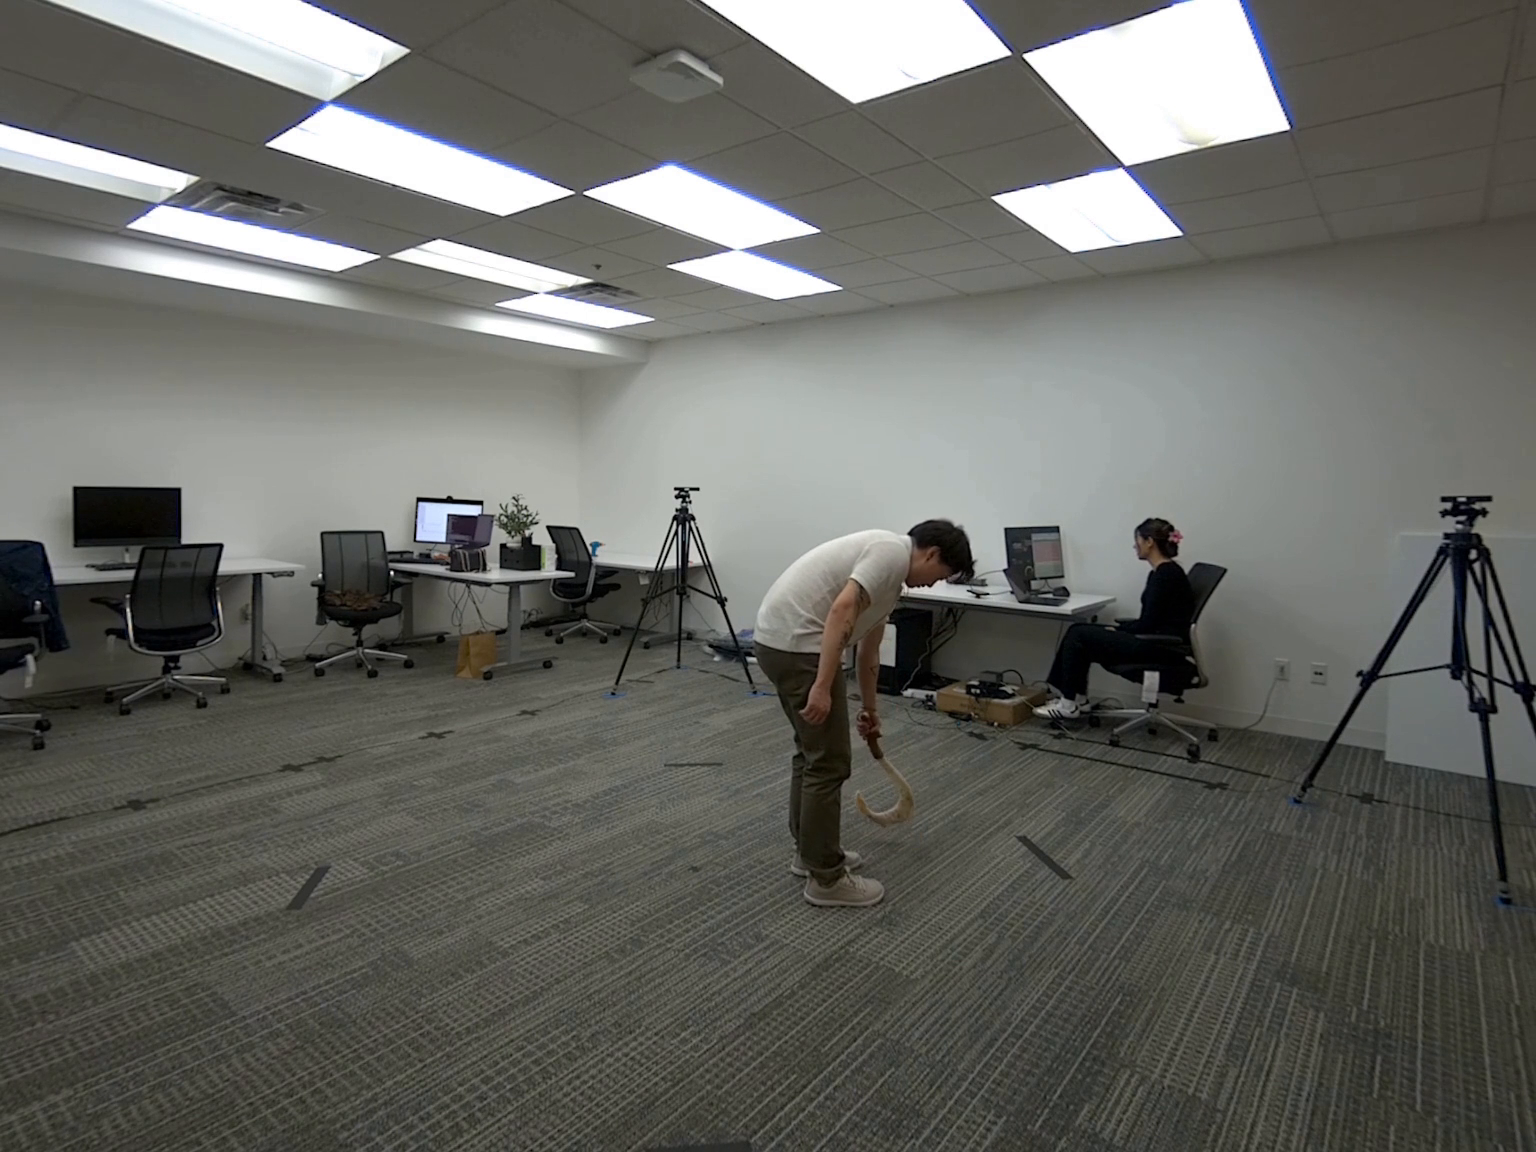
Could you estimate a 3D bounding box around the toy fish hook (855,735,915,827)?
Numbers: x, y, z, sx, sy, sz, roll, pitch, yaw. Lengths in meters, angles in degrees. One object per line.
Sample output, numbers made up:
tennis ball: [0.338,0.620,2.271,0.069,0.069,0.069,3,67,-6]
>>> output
toy fish hook: [0.403,0.763,3.333,0.225,0.498,0.049,-22,12,1]
